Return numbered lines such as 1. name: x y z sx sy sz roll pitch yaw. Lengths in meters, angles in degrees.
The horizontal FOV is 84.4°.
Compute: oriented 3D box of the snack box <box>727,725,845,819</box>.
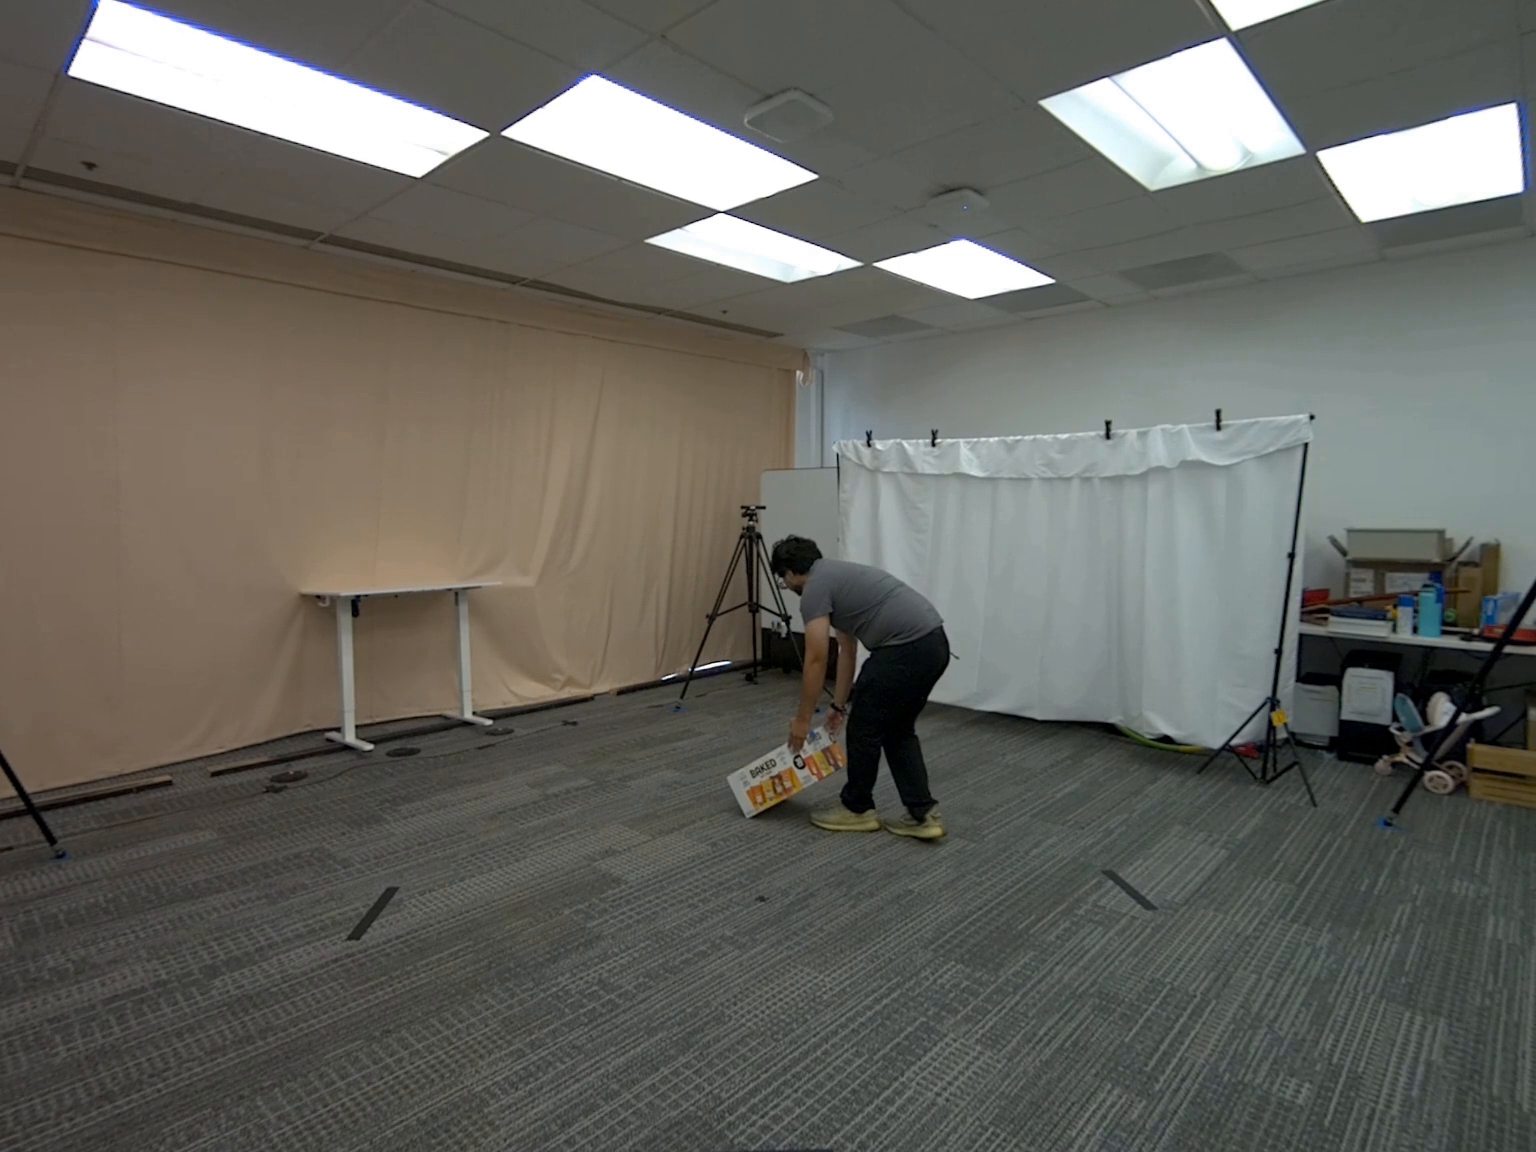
1. snack box: 0.091 0.883 3.826 0.410 0.209 0.331 -36 -15 28
